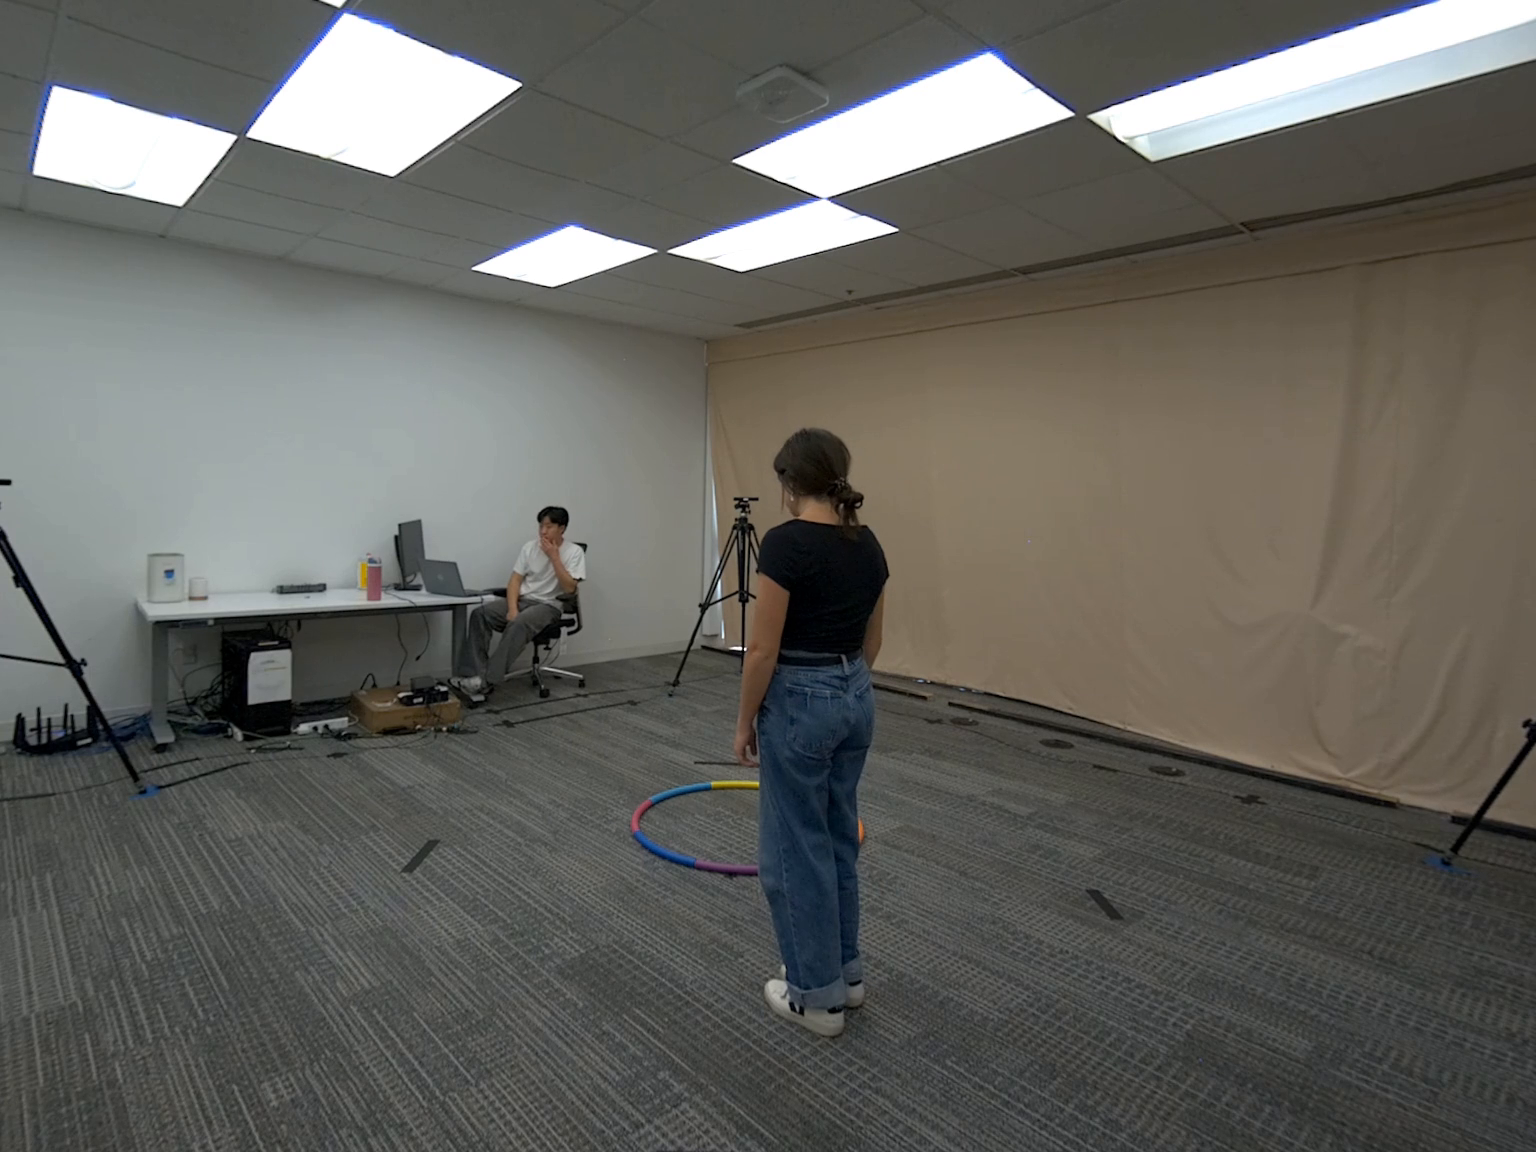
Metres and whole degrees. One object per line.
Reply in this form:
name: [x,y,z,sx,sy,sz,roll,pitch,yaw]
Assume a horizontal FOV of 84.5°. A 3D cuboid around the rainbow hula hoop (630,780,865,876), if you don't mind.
rainbow hula hoop: [-0.097,1.039,3.586,0.978,0.035,0.982,1,5,-1]
